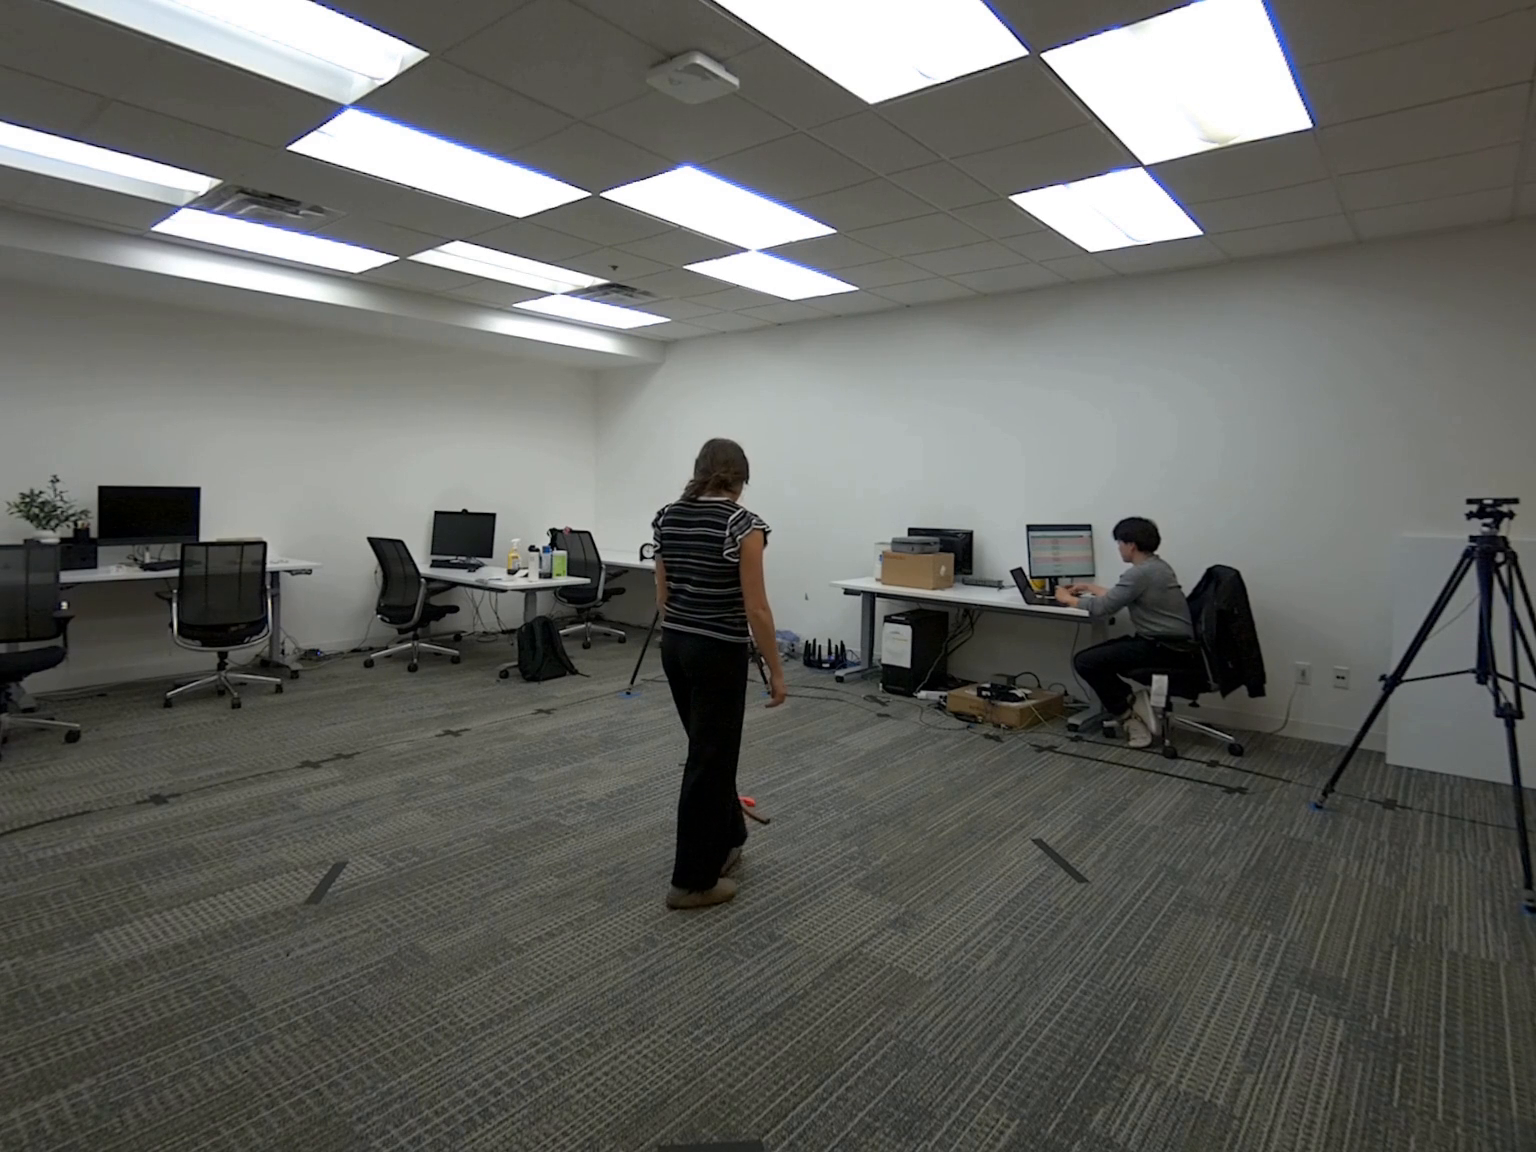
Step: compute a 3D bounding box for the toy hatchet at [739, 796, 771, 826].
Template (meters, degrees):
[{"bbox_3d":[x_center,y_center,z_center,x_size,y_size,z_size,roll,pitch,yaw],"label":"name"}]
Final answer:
[{"bbox_3d":[-0.070,0.997,3.669,0.127,0.029,0.280,-1,8,-40],"label":"toy hatchet"}]
